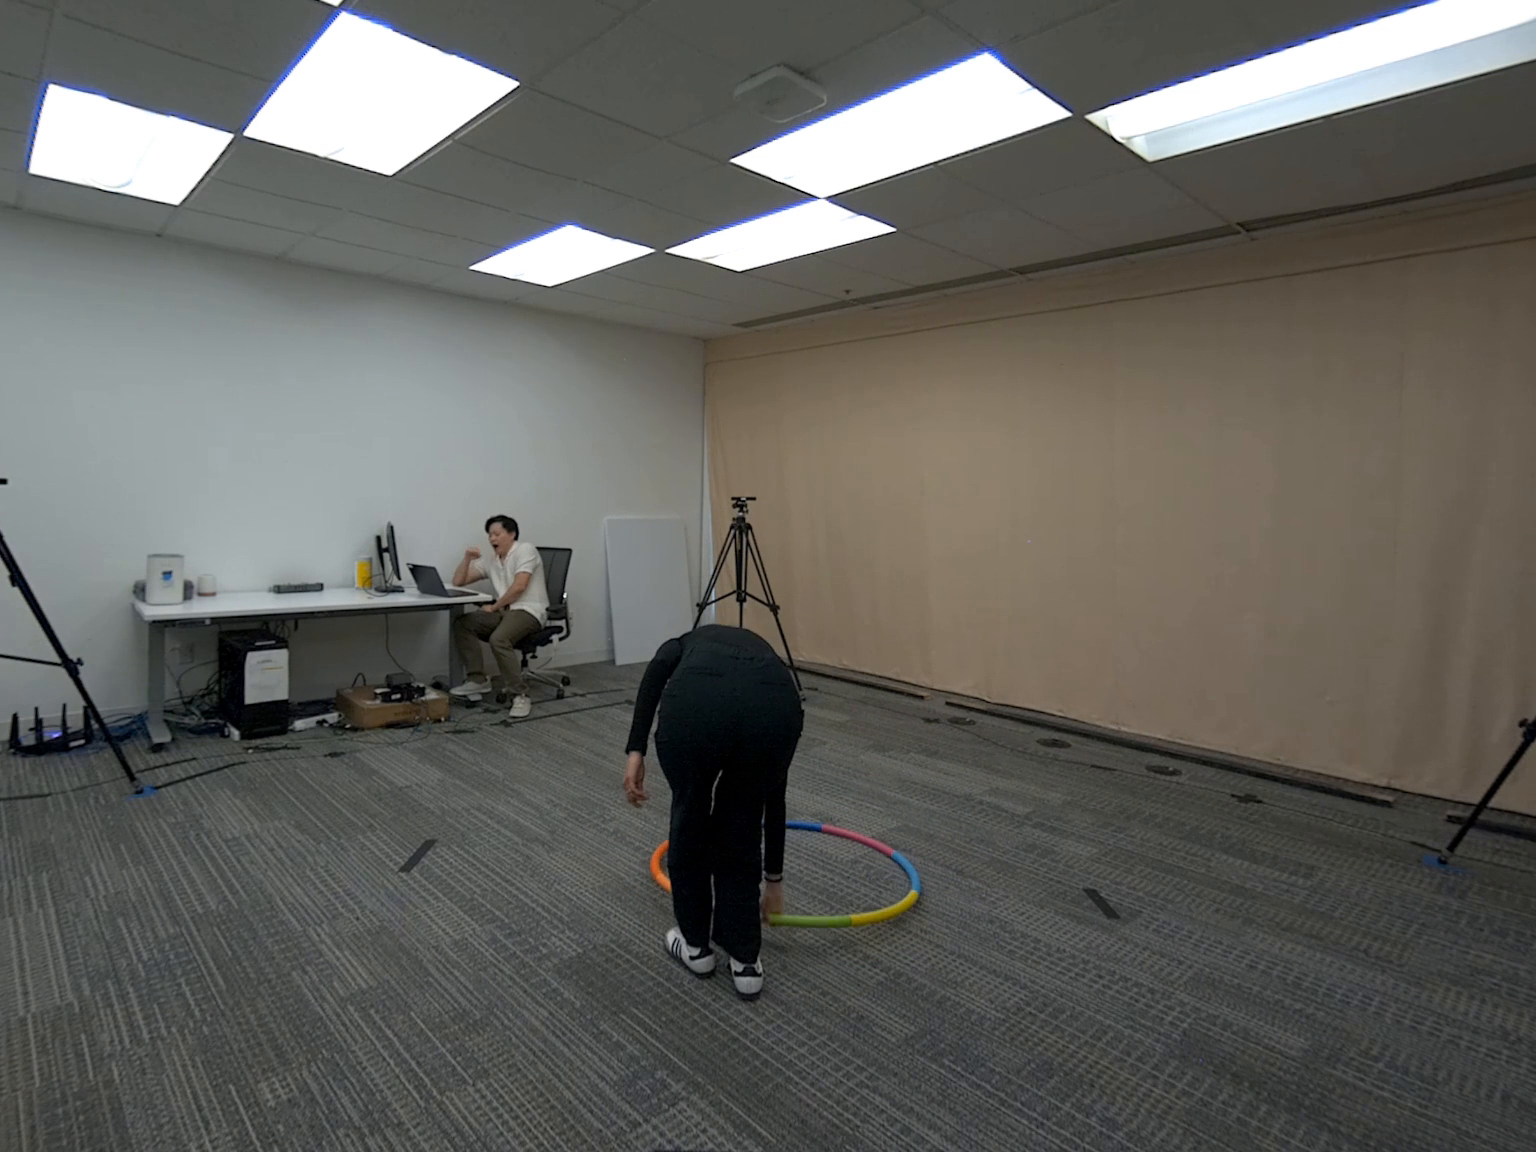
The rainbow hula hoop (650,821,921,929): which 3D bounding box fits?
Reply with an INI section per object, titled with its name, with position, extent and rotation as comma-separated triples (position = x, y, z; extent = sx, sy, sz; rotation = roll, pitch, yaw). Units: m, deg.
[rainbow hula hoop]
position = 0.050, 1.056, 3.100
extent = 0.978, 0.035, 0.979
rotation = 3, 1, -1
